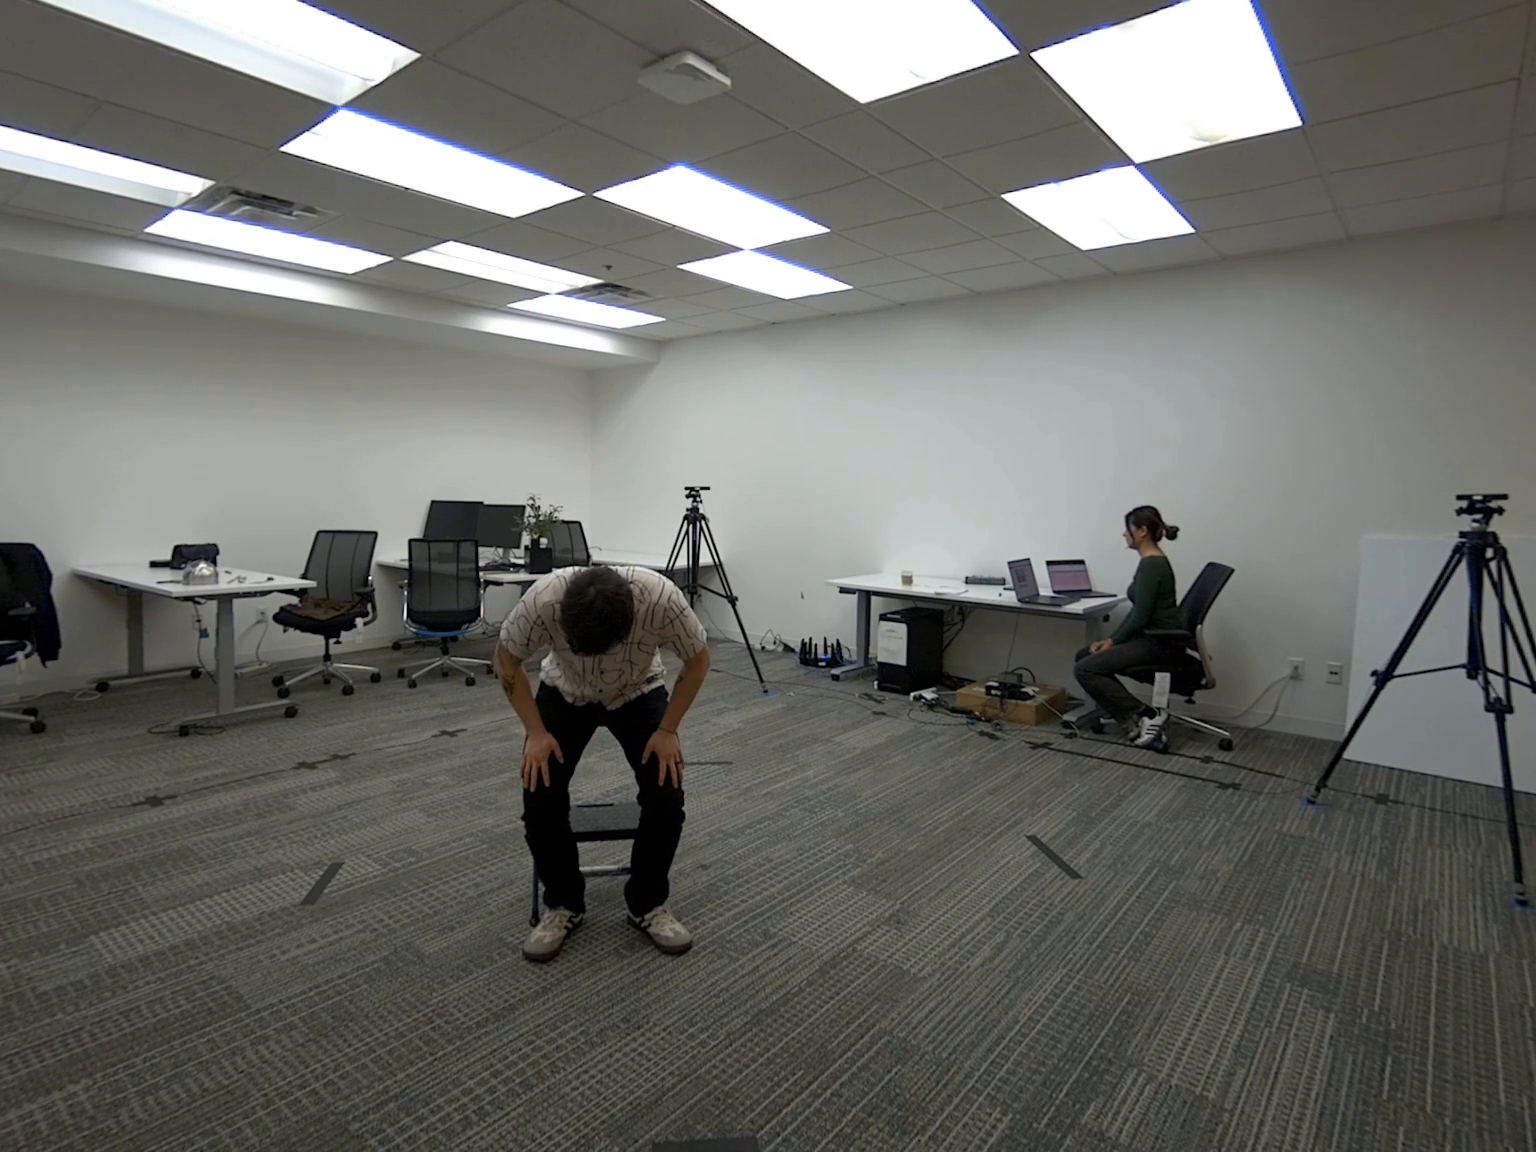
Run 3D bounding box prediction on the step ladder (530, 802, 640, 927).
[{"bbox_3d":[-0.589,0.784,2.880,0.425,0.604,0.355,0,4,-12],"label":"step ladder"}]
